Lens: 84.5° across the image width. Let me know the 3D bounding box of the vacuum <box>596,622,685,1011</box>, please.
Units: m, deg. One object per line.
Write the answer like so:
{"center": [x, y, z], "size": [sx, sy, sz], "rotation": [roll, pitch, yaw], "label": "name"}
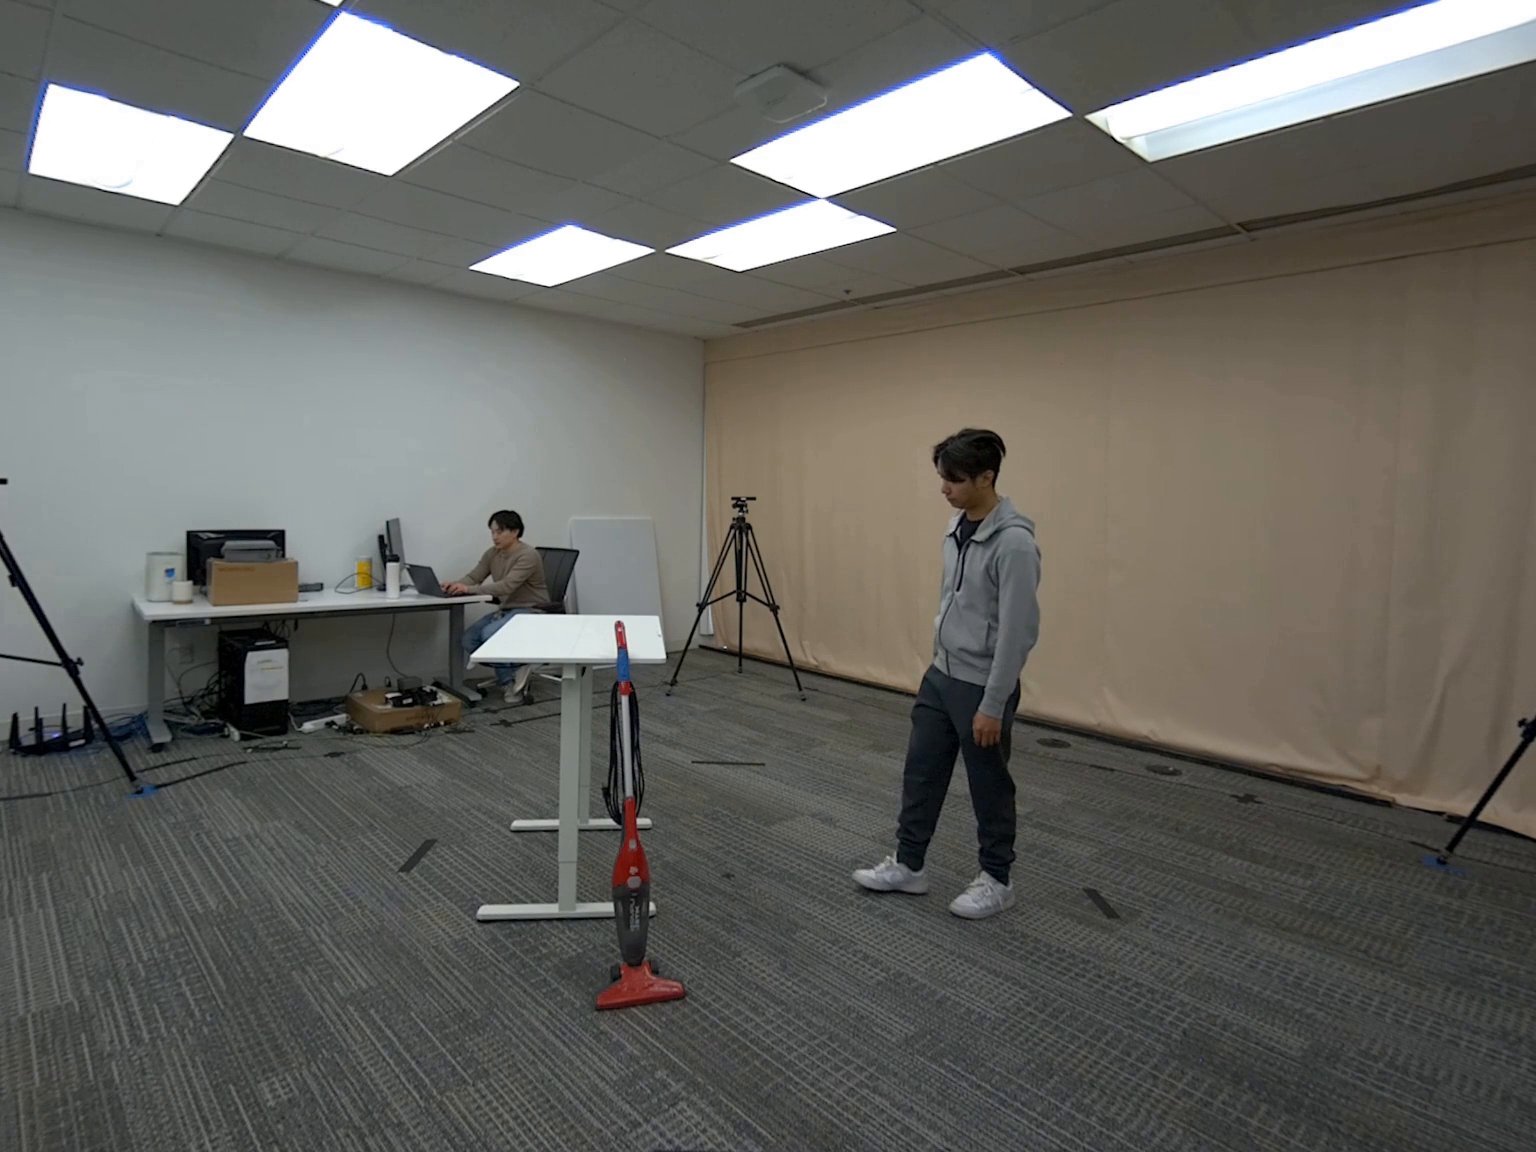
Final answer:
{"center": [-0.427, 0.670, 2.518], "size": [0.248, 1.064, 0.144], "rotation": [1, -18, -22], "label": "vacuum"}
